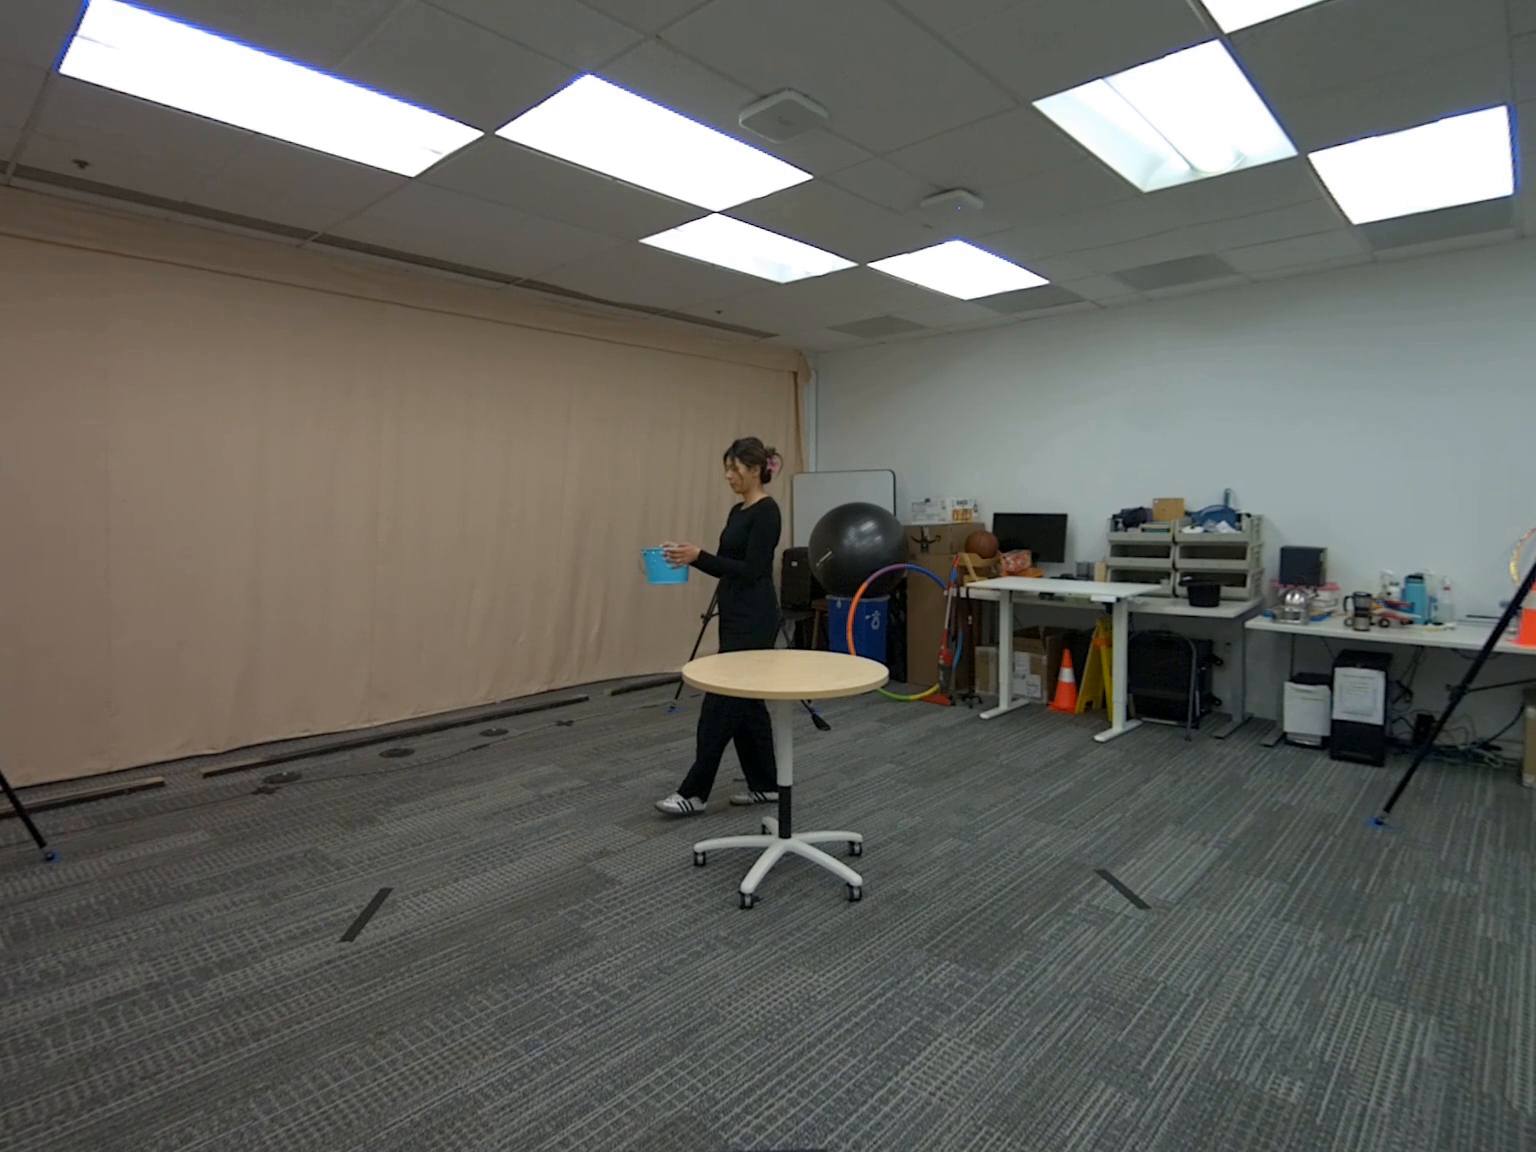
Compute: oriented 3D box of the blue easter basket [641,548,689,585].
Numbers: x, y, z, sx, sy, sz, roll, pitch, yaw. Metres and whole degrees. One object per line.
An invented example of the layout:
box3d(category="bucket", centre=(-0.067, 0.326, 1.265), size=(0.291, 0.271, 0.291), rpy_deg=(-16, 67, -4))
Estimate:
box3d(category="blue easter basket", centre=(-0.452, -0.043, 3.780), size=(0.243, 0.156, 0.244), rpy_deg=(-1, 0, -2))
